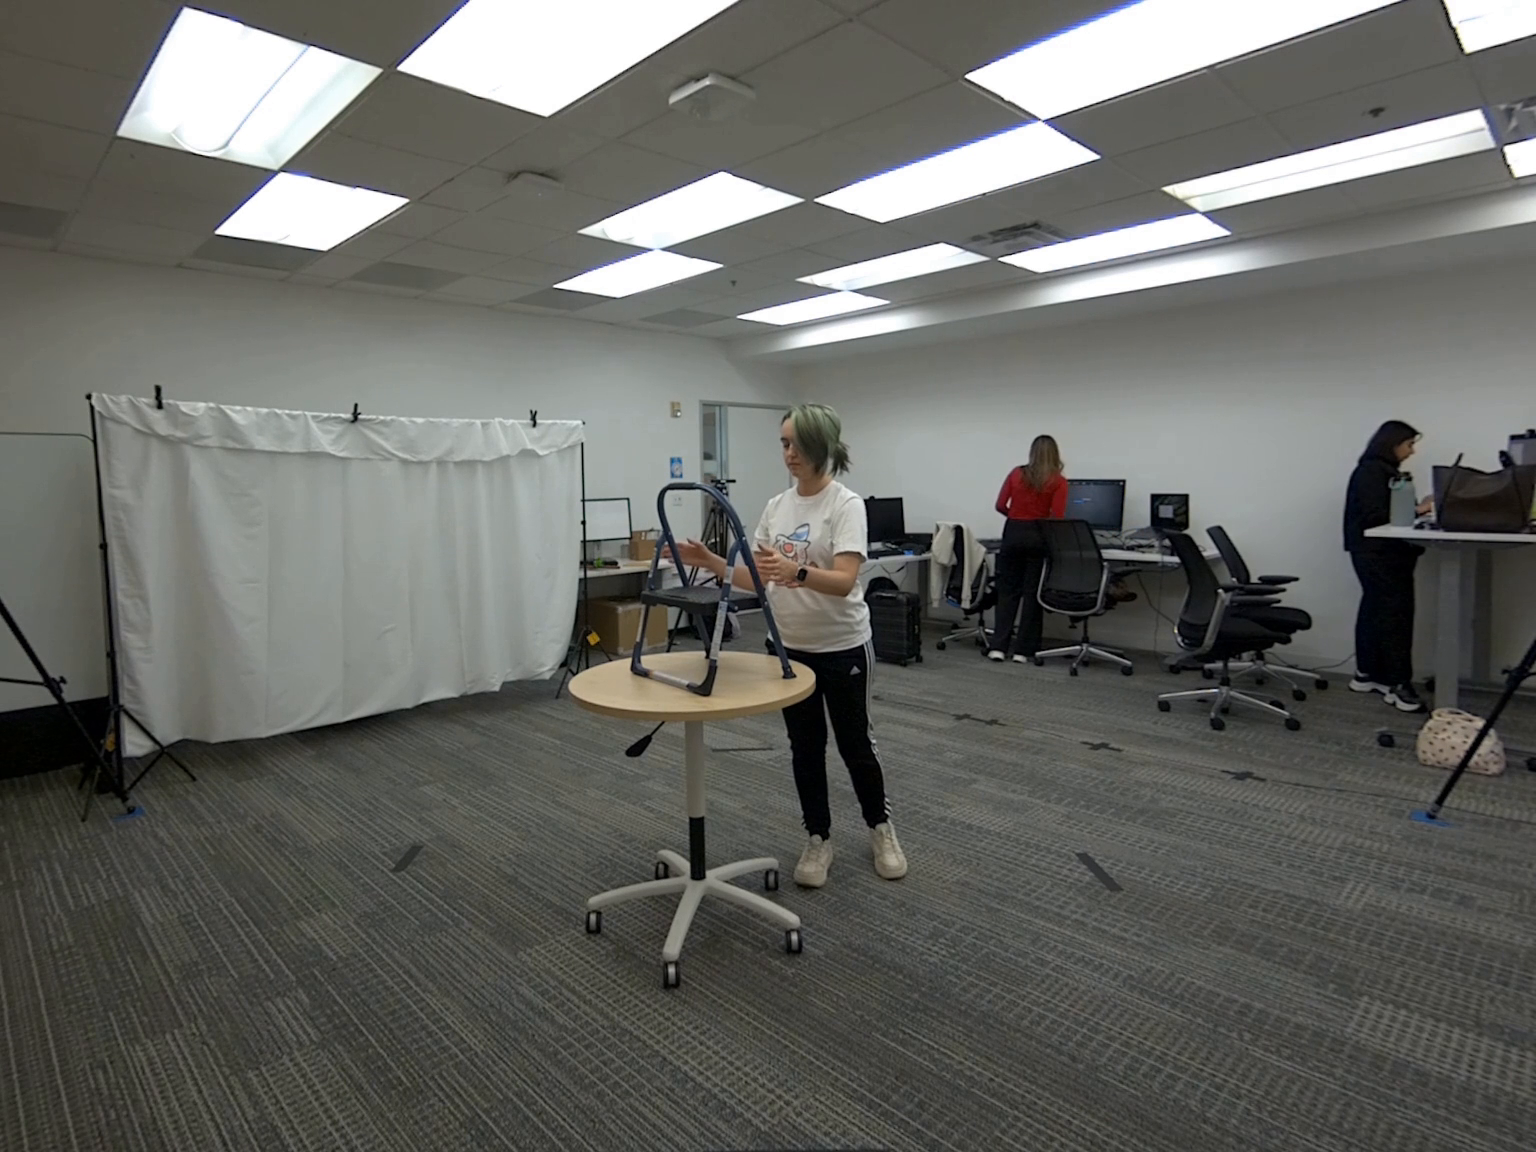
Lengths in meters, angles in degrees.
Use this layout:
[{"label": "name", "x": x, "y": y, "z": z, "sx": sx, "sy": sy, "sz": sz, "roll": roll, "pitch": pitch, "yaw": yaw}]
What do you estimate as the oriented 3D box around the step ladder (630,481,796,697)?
[{"label": "step ladder", "x": -0.193, "y": 0.012, "z": 2.664, "sx": 0.340, "sy": 0.604, "sz": 0.444, "roll": -5, "pitch": 6, "yaw": -40}]
